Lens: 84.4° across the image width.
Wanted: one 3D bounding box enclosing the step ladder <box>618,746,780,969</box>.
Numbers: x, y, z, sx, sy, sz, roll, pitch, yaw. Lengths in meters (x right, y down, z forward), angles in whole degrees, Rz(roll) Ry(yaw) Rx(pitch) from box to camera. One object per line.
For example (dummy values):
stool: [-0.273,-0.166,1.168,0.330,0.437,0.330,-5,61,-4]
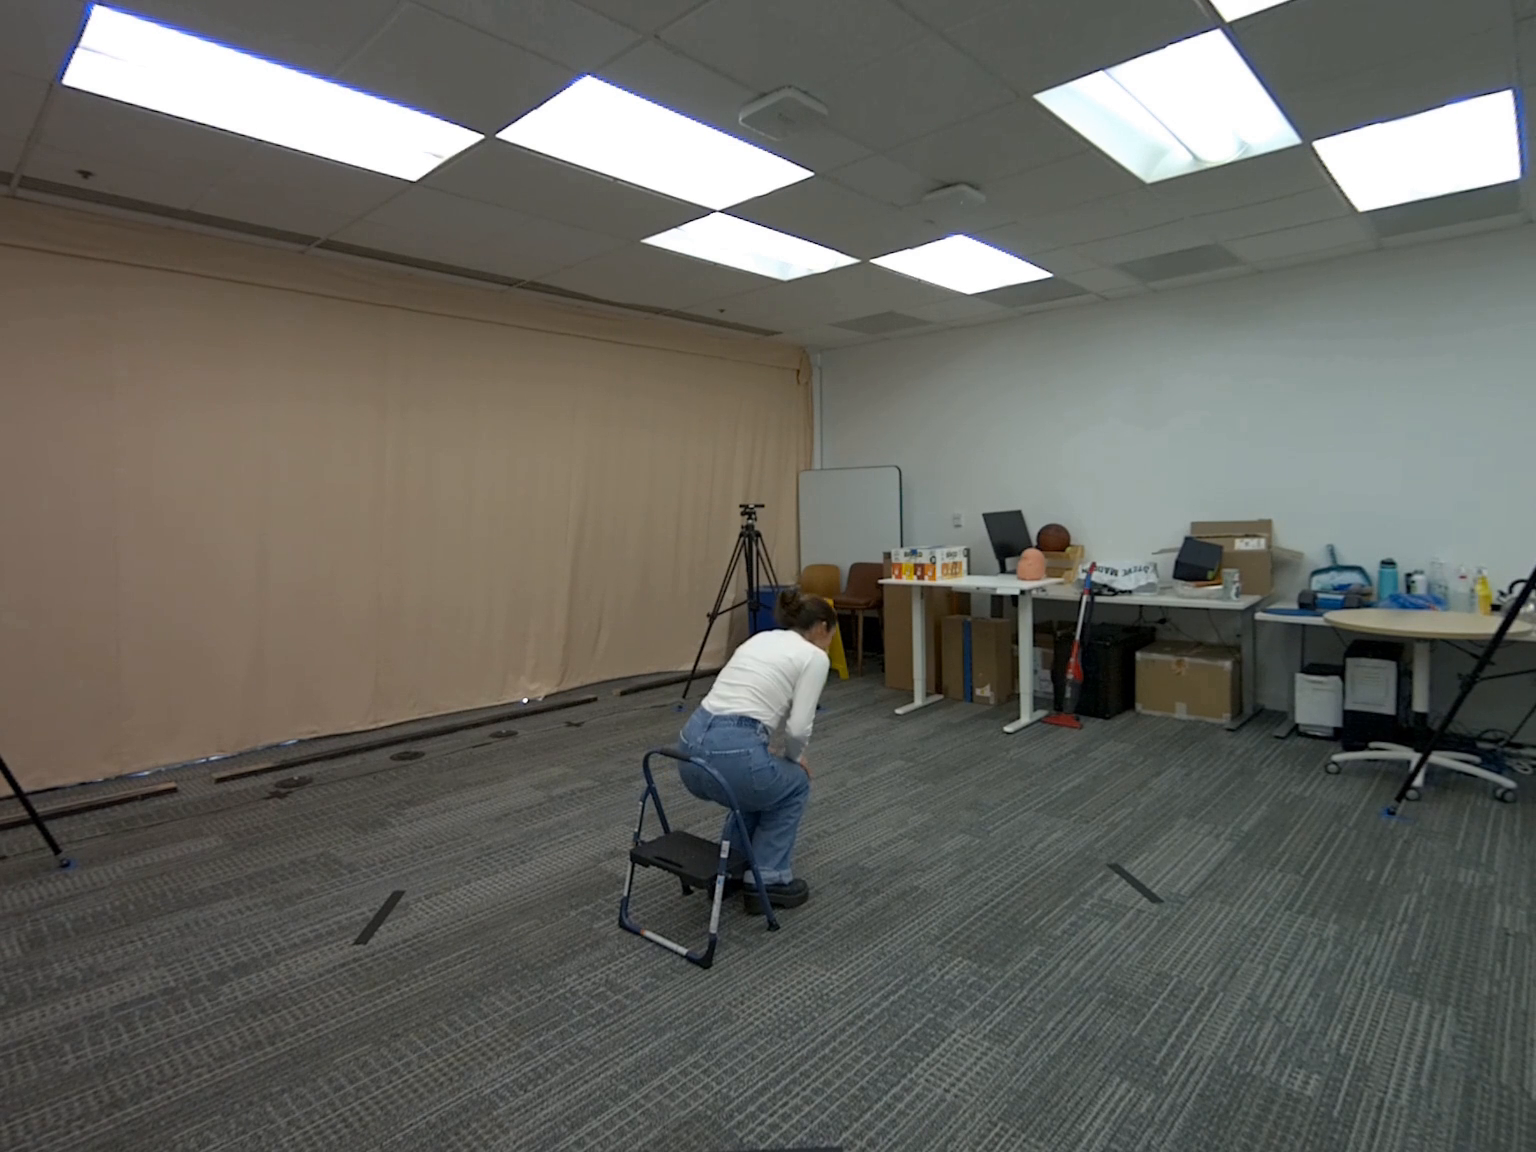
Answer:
step ladder: [-0.239,0.859,2.764,0.445,0.605,0.339,2,4,41]
